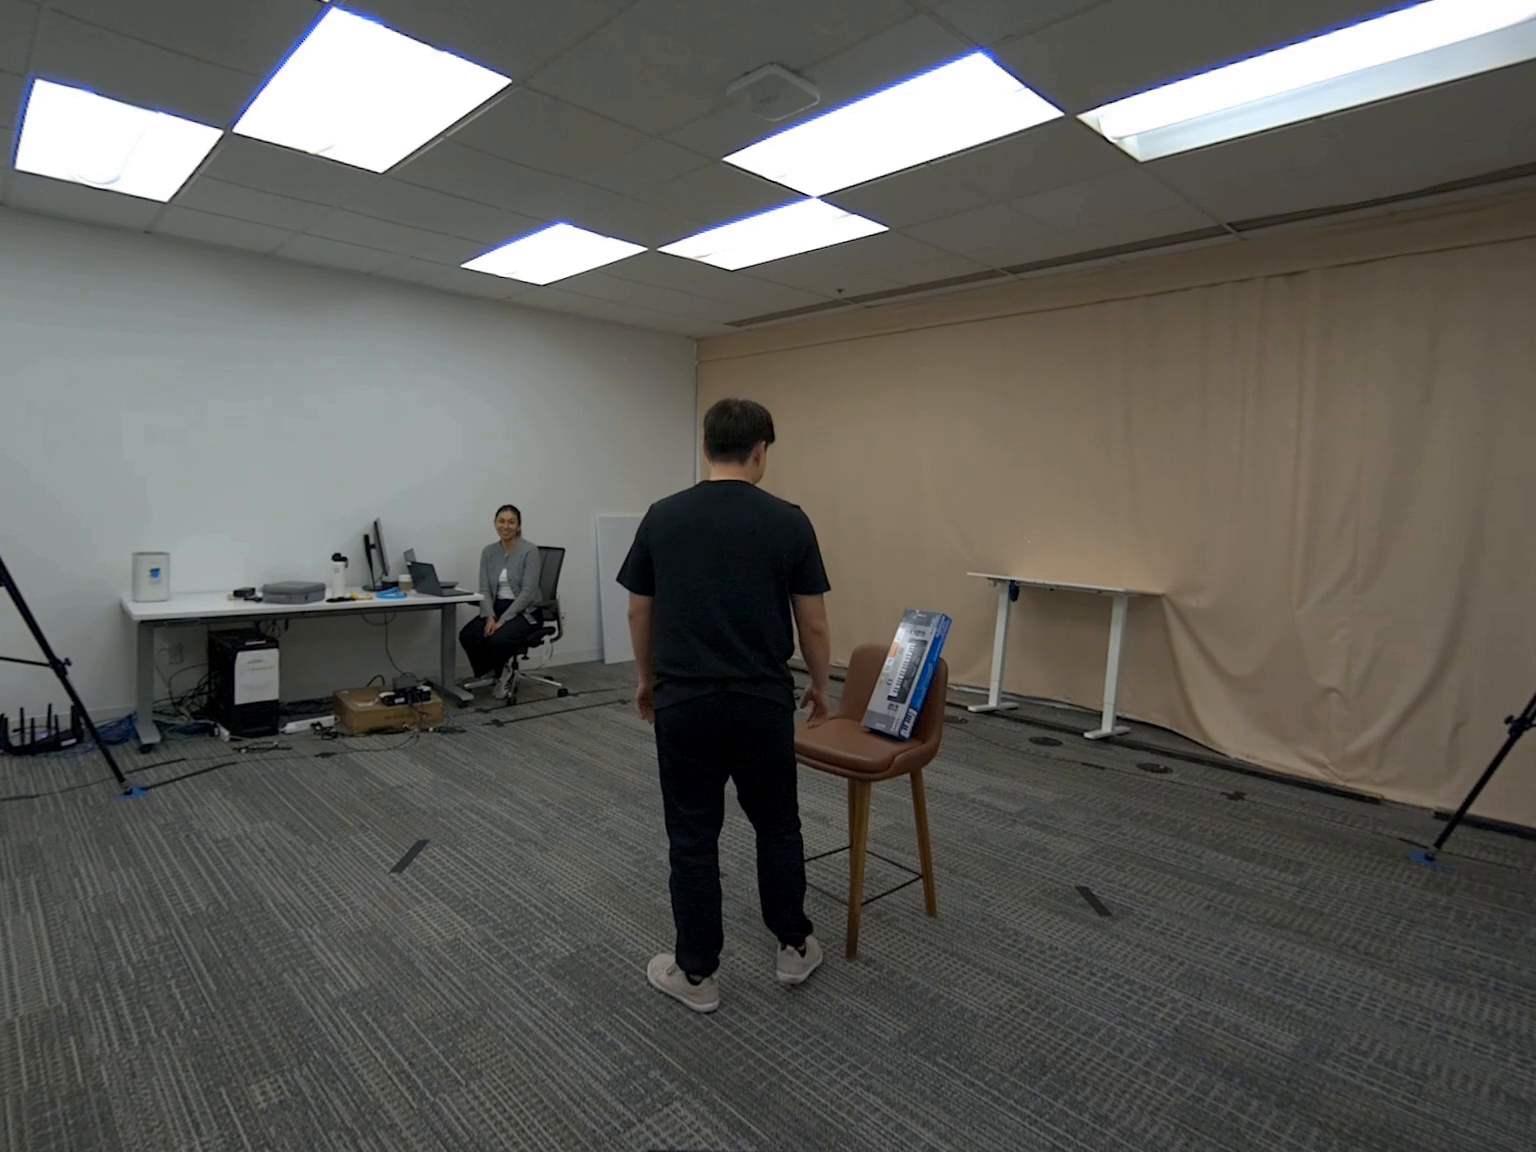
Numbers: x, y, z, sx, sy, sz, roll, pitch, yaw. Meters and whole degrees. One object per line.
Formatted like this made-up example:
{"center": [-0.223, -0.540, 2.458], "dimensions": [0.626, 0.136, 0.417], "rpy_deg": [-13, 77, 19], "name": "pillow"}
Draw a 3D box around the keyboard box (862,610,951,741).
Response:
{"center": [0.462, 0.328, 2.839], "dimensions": [0.057, 0.439, 0.180], "rpy_deg": [32, -16, -33], "name": "keyboard box"}
